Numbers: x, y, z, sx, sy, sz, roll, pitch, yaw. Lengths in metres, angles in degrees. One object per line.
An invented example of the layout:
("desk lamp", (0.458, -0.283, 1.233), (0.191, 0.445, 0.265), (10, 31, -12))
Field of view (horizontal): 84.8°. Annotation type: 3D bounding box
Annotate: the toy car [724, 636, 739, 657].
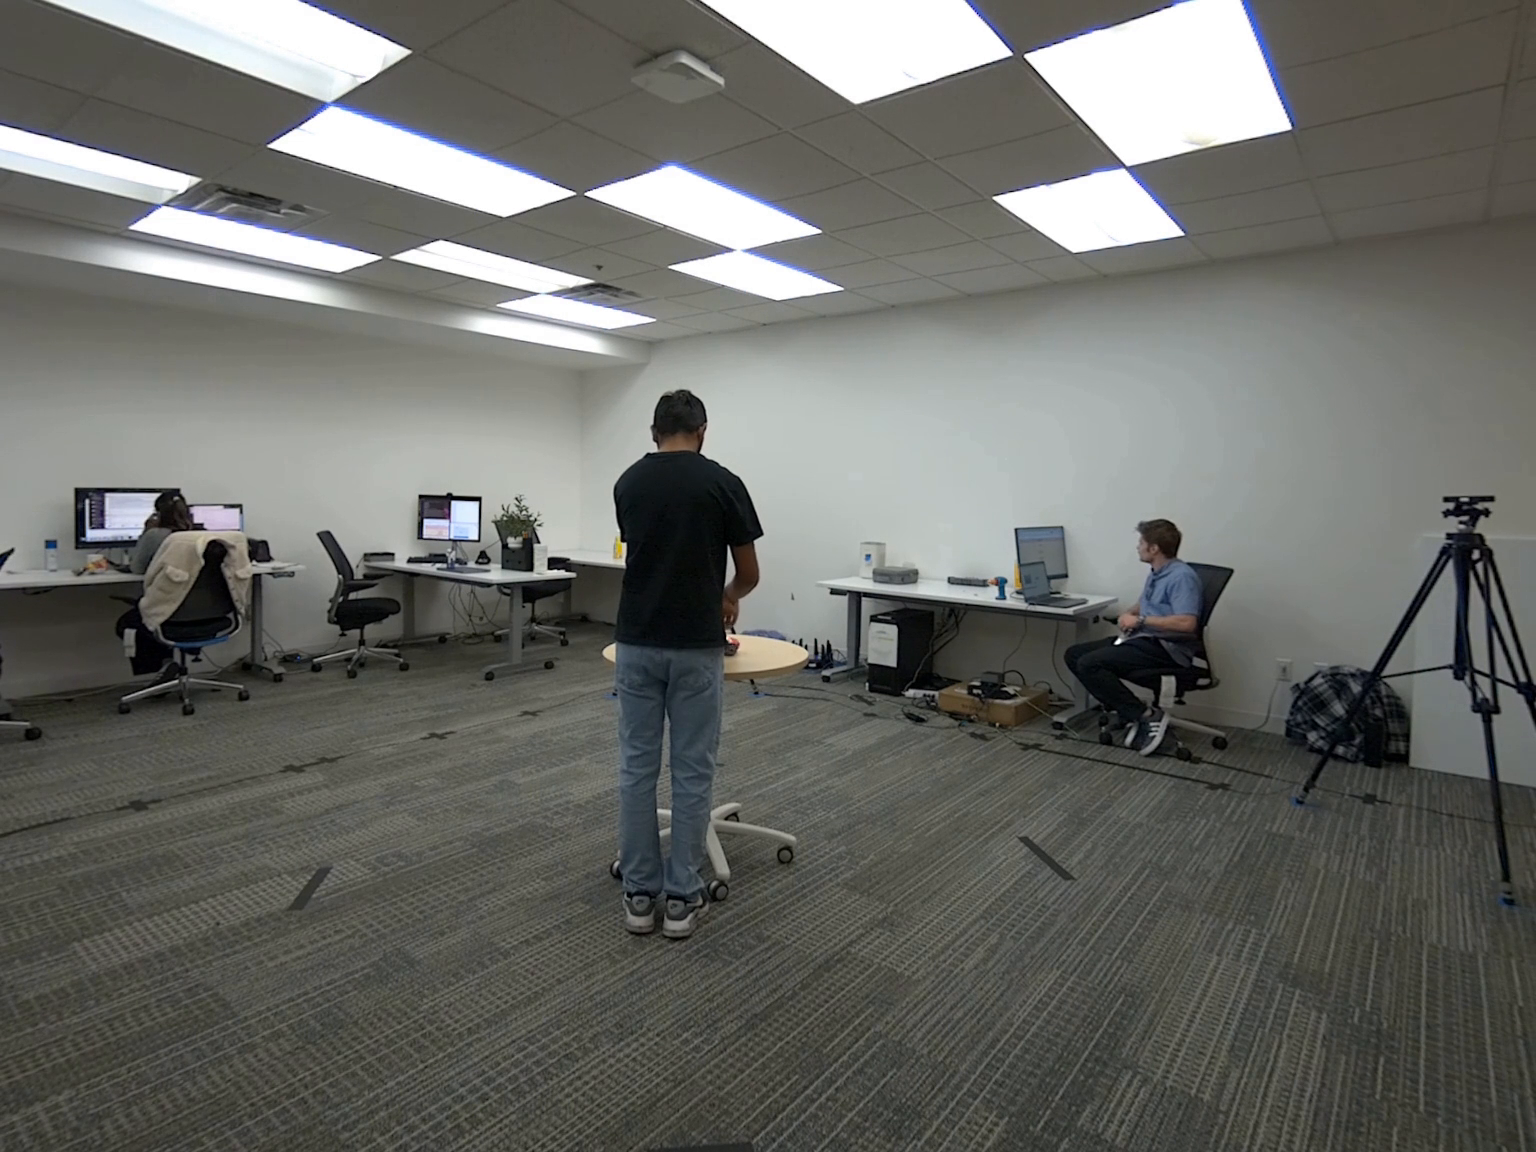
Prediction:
("toy car", (-0.248, 0.251, 3.138), (0.253, 0.083, 0.131), (9, 4, -5))
